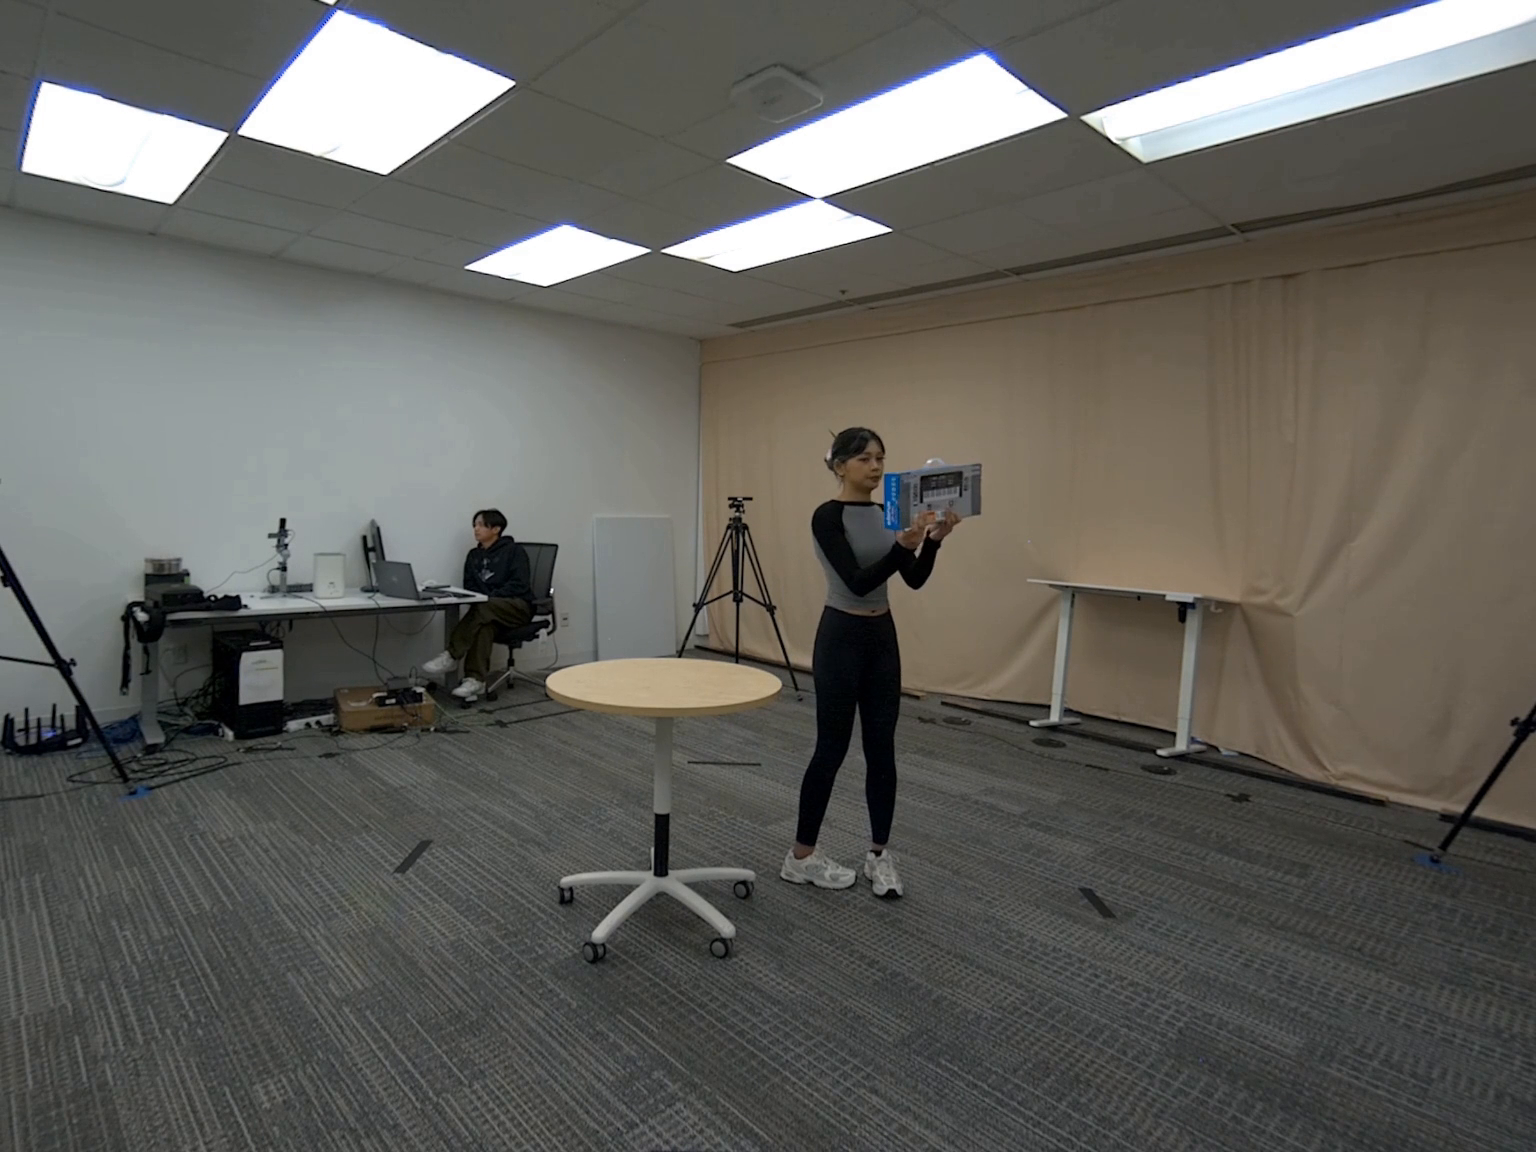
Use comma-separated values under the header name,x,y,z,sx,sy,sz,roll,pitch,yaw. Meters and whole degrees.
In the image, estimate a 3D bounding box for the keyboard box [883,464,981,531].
name,x,y,z,sx,sy,sz,roll,pitch,yaw
keyboard box,0.524,-0.257,2.689,0.428,0.174,0.061,-12,14,-40
